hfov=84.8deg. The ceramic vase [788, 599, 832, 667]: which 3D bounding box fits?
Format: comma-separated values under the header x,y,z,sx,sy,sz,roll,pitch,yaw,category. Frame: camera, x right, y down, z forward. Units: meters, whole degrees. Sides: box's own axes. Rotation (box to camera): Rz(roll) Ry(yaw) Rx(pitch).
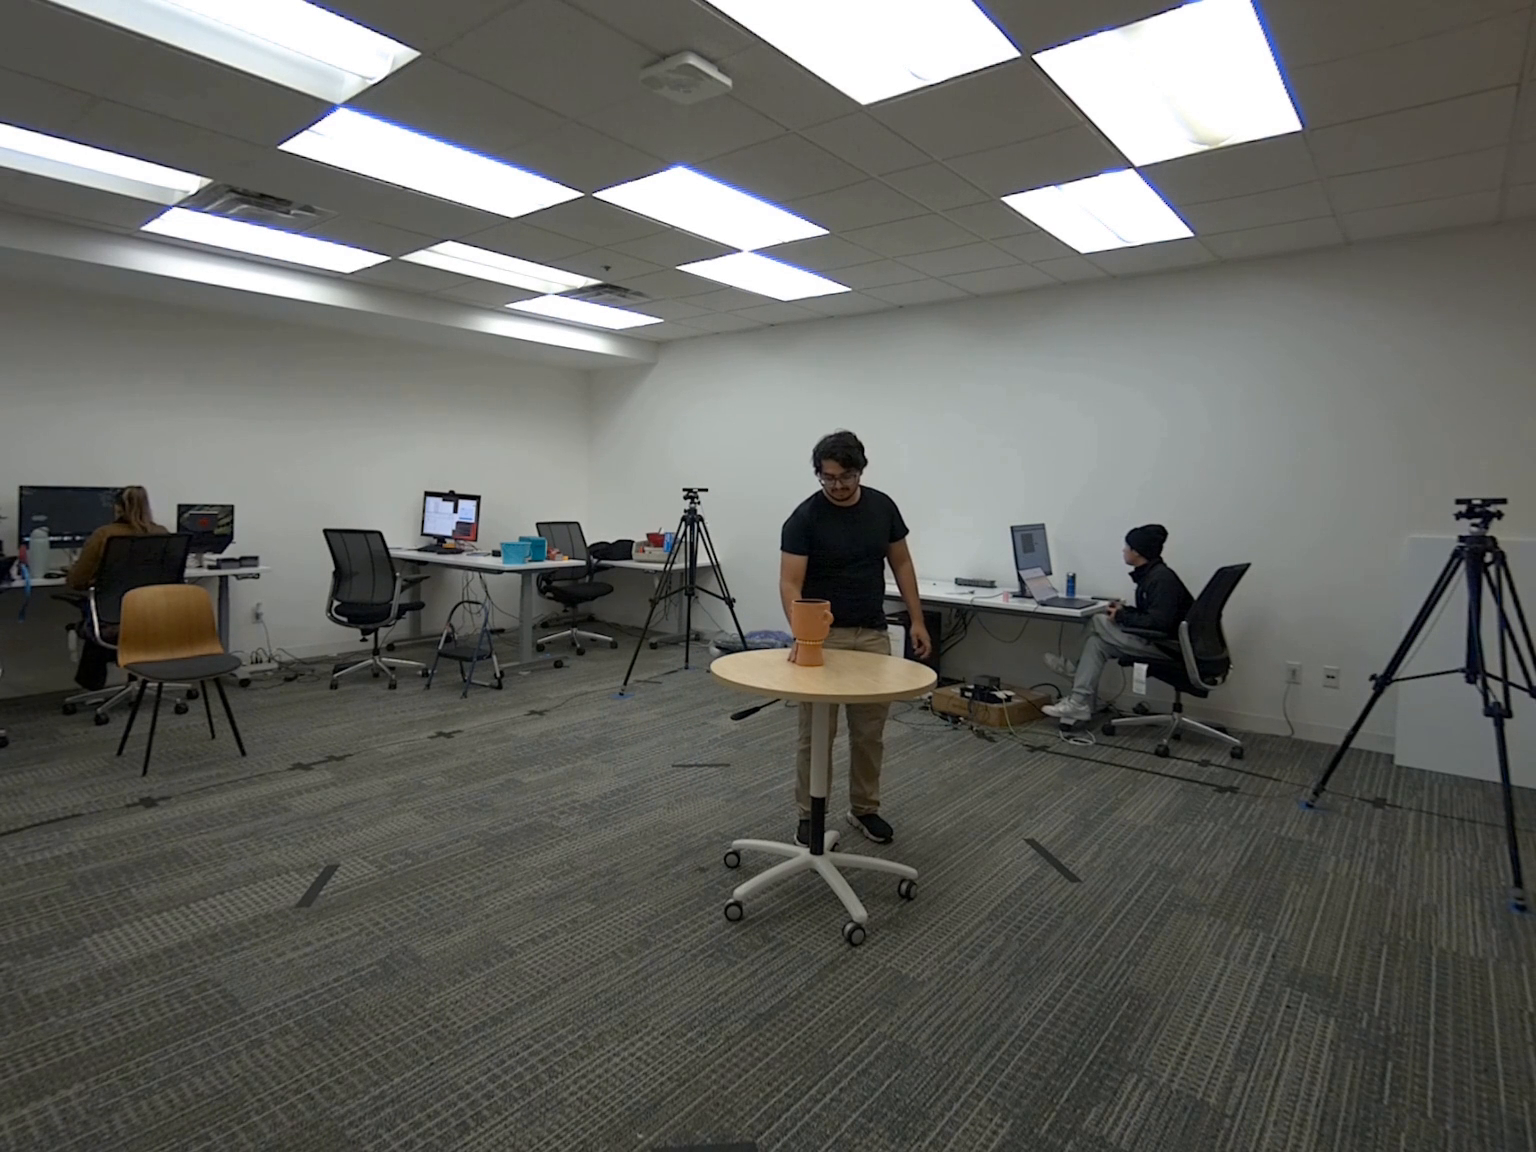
x,y,z,sx,sy,sz,roll,pitch,yaw,category
0.143,0.200,2.990,0.133,0.219,0.161,4,4,-8,ceramic vase
